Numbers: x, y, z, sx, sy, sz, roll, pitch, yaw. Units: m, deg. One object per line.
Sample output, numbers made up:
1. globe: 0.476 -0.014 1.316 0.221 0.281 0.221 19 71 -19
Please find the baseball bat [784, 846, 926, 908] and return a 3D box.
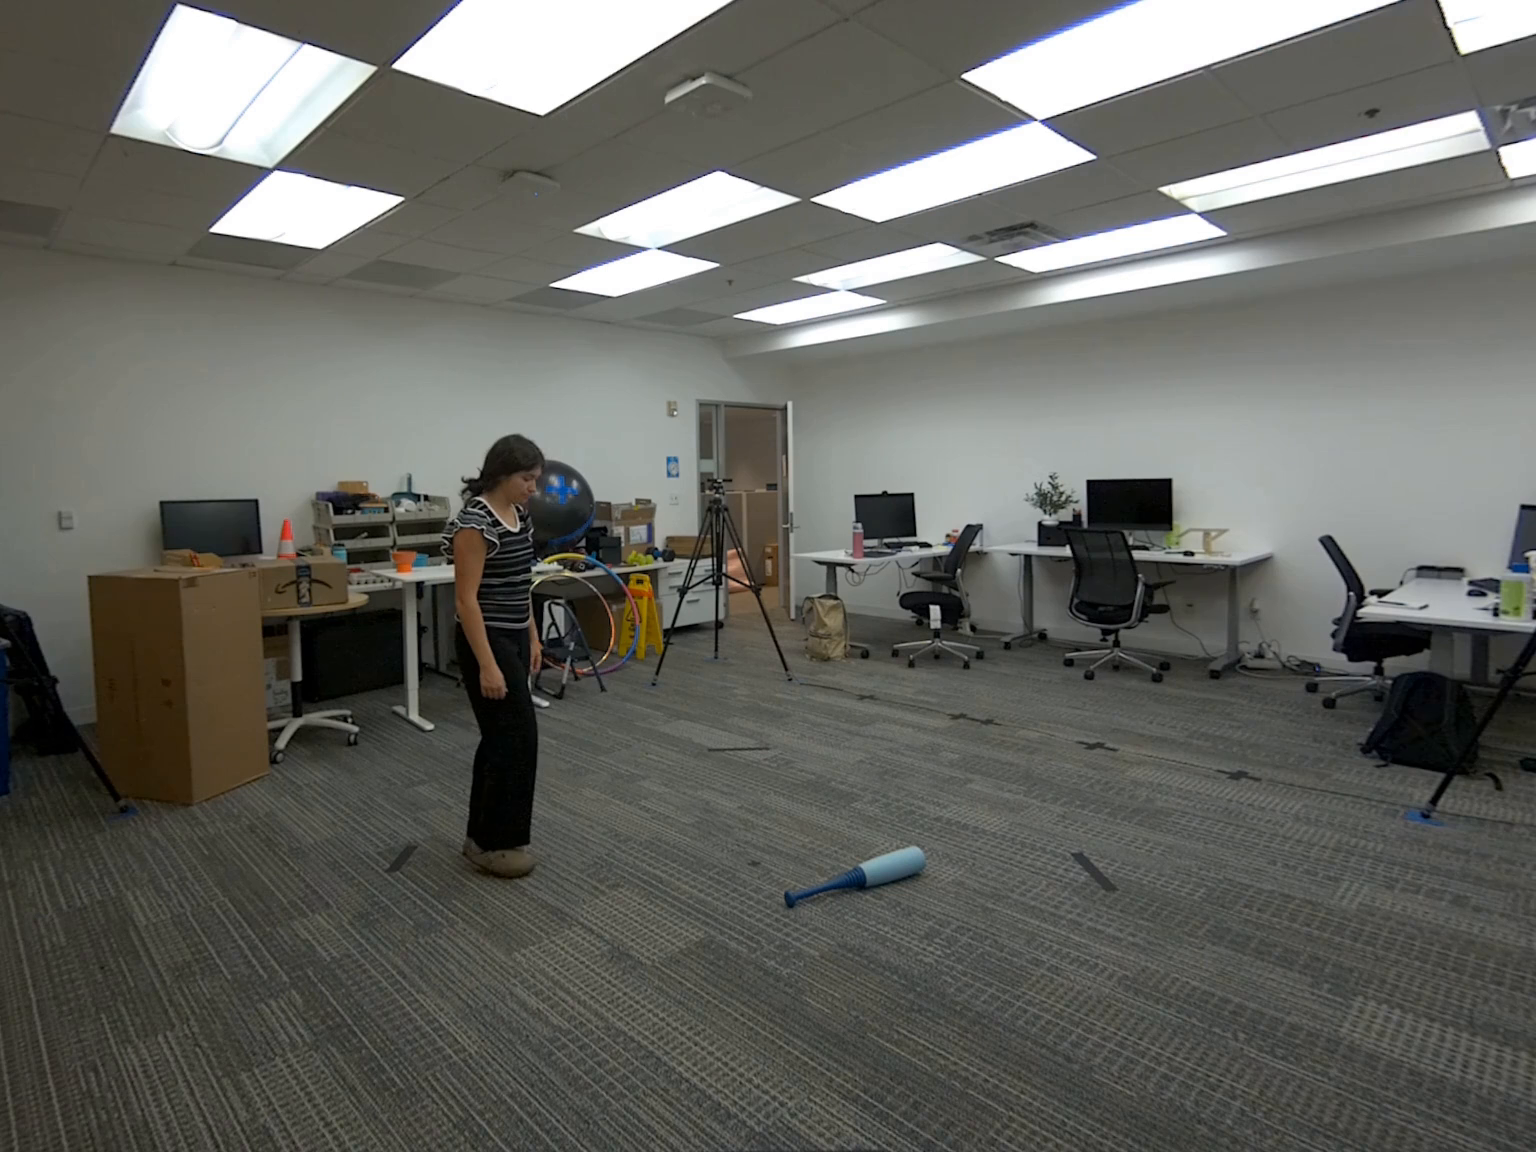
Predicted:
1. baseball bat: 0.299 1.023 2.894 0.533 0.088 0.091 -8 7 -24
